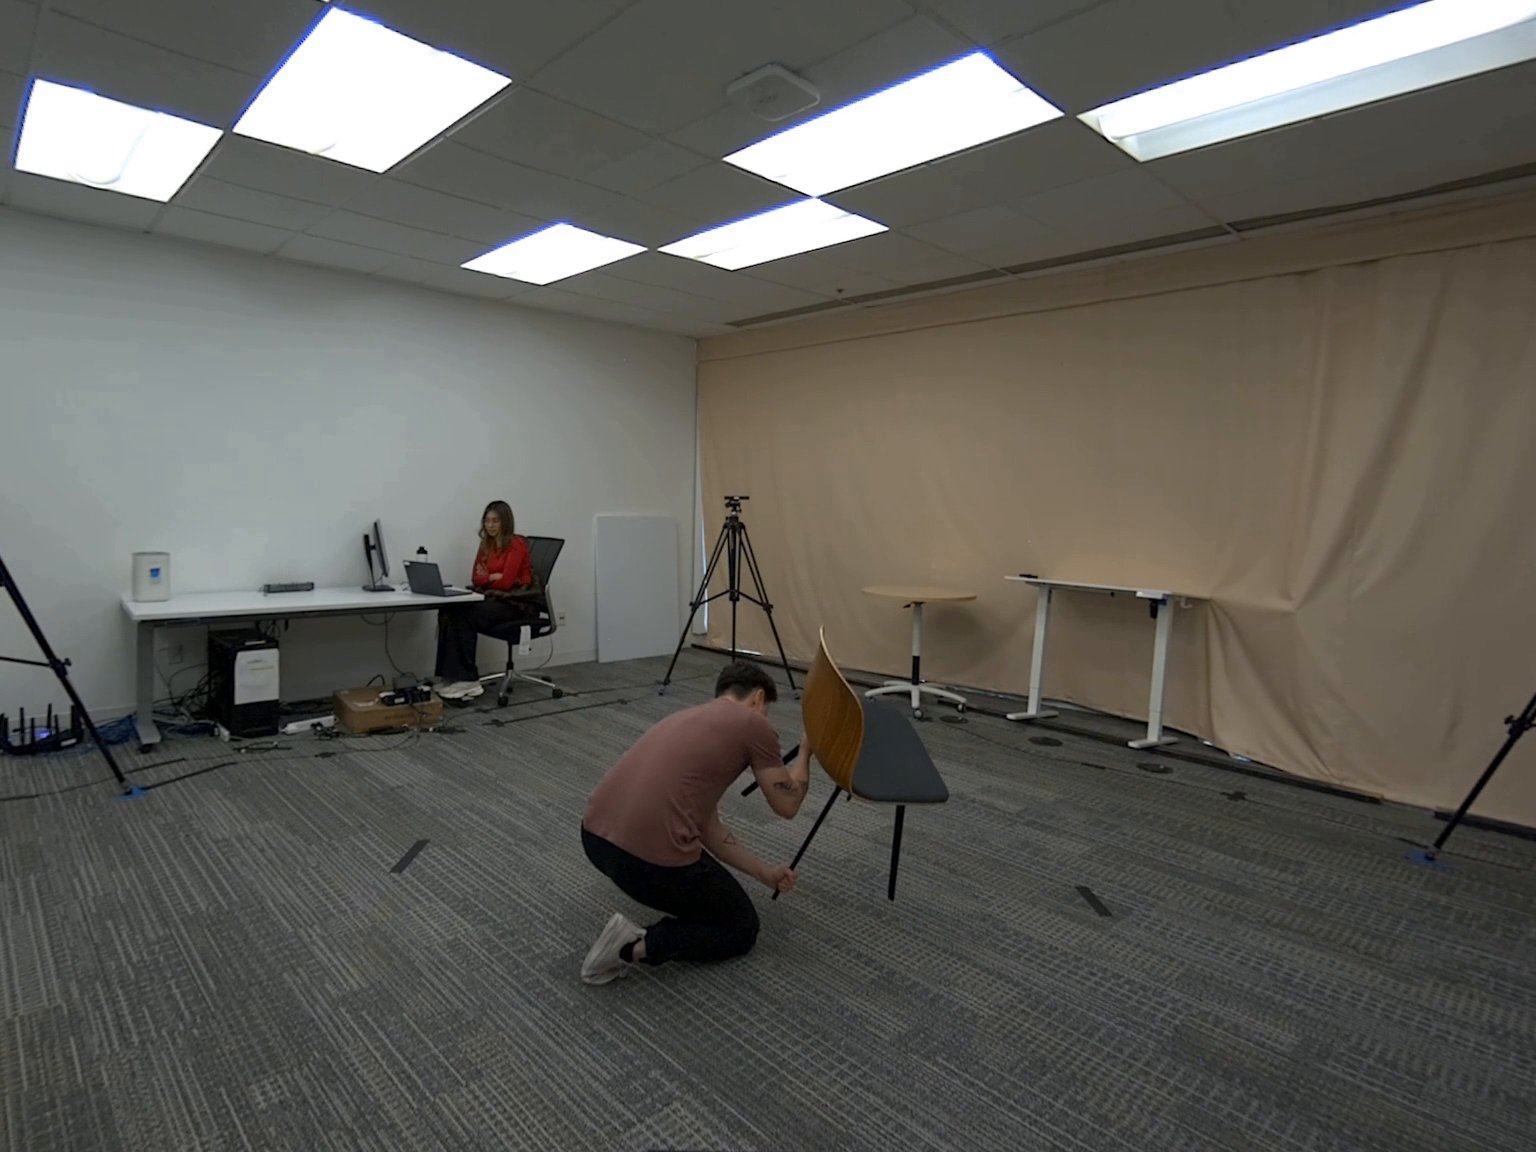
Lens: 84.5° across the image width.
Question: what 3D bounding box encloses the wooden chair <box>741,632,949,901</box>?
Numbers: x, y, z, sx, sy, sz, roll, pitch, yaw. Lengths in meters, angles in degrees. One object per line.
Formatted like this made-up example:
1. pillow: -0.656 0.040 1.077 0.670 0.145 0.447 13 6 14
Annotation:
1. wooden chair: 0.305 0.605 2.786 0.515 0.866 0.491 5 31 -20
